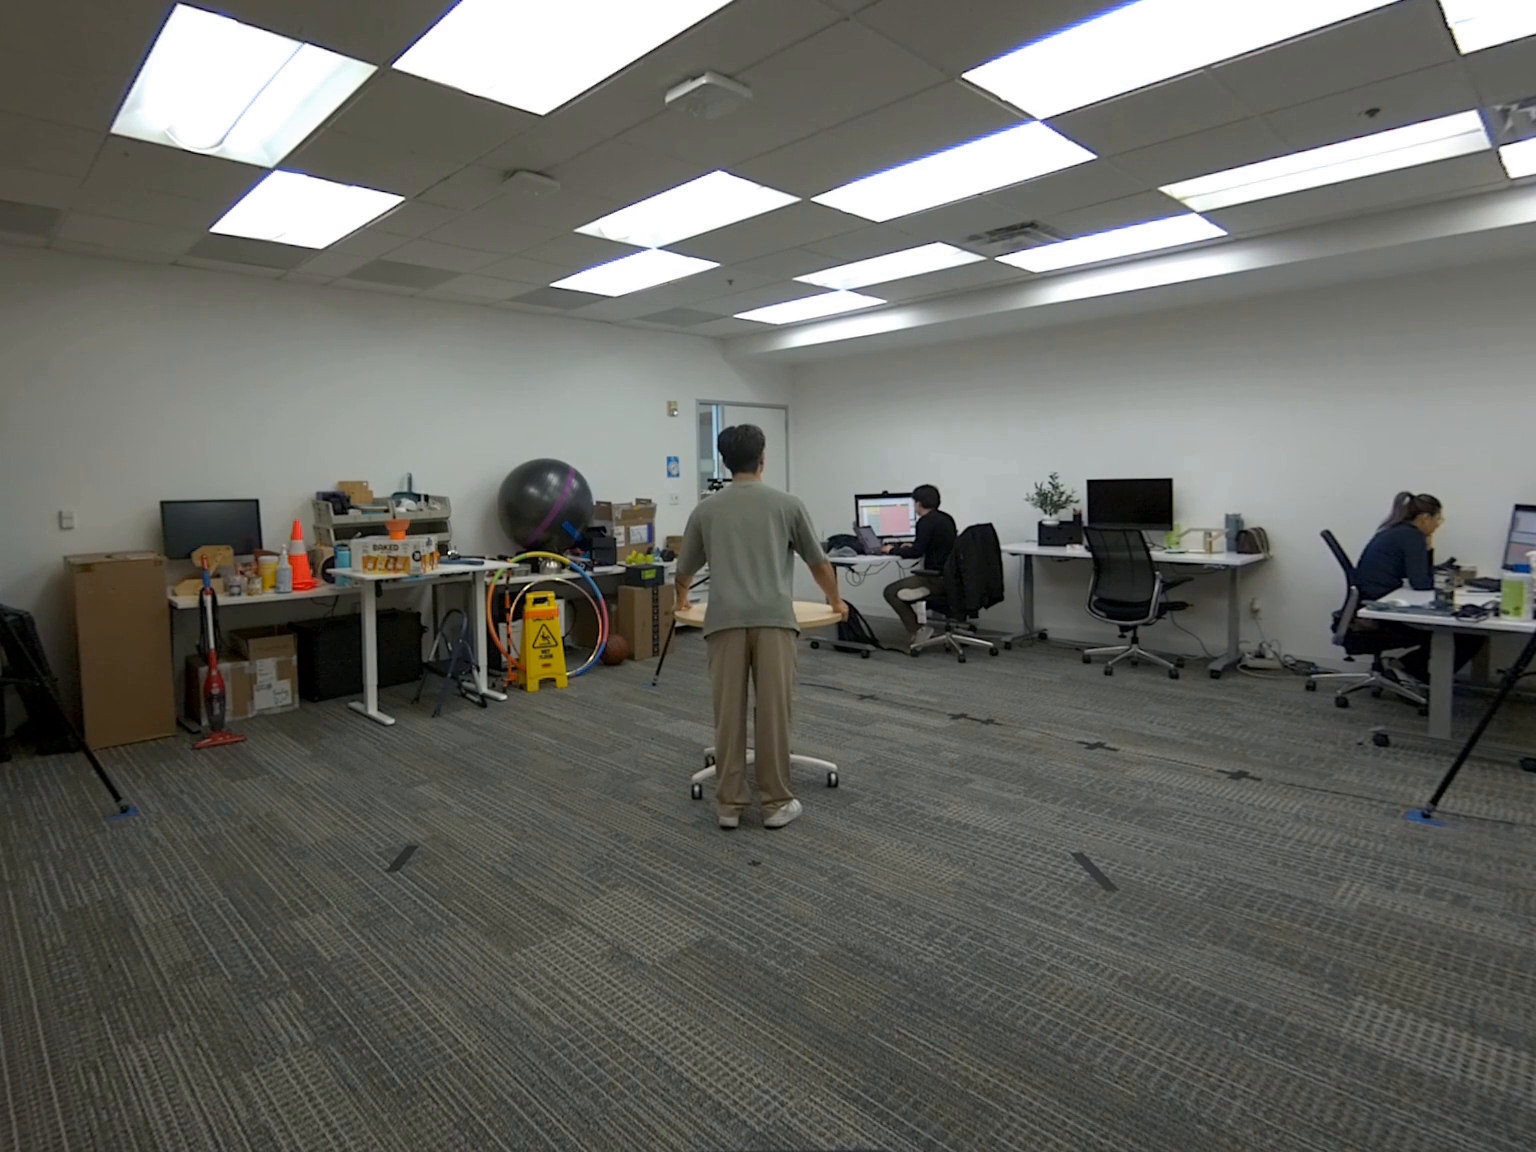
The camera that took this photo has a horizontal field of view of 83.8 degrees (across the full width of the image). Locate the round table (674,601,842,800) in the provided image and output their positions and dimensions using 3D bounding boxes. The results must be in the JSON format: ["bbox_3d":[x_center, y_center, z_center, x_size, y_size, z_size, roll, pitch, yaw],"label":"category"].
[{"bbox_3d":[-0.025,0.556,3.913,0.784,0.784,0.789,-1,4,-2],"label":"round table"}]
